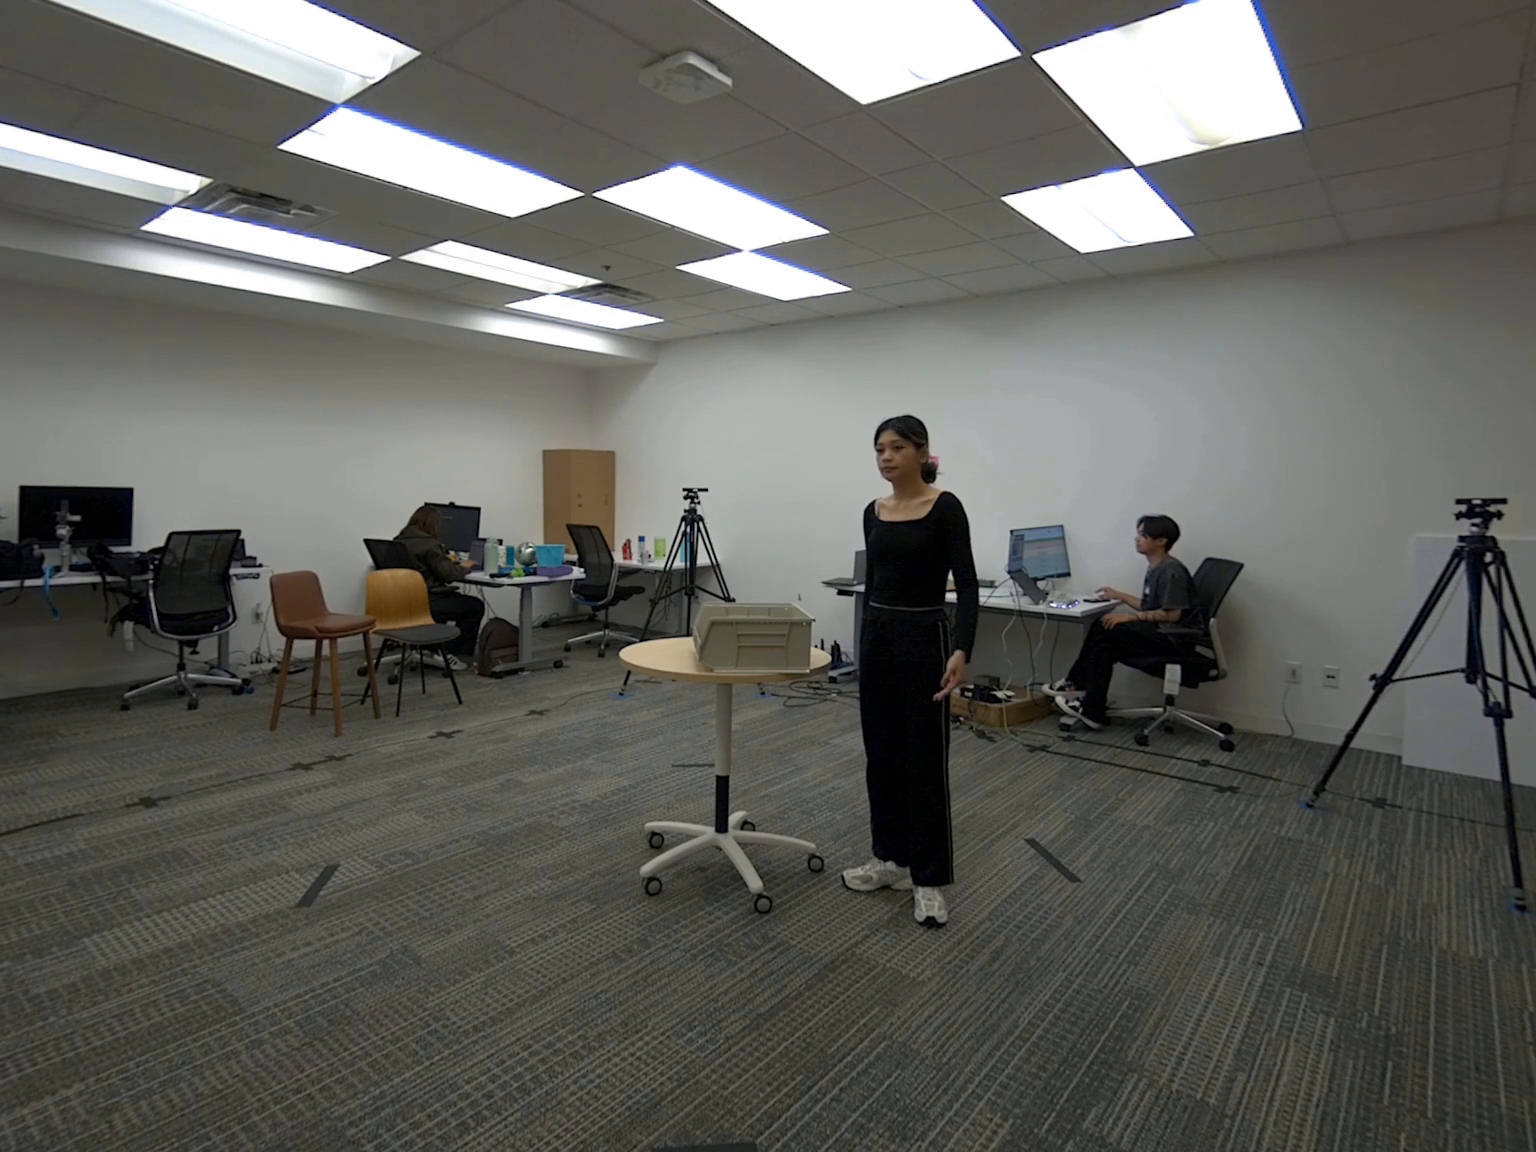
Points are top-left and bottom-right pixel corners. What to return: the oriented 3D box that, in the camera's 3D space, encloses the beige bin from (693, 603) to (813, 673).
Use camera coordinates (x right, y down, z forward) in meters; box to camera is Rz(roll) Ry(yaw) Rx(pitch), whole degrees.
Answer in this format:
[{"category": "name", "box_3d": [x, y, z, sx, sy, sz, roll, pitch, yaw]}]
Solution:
[{"category": "beige bin", "box_3d": [-0.075, 0.207, 2.940, 0.375, 0.188, 0.426, 1, 4, -7]}]
